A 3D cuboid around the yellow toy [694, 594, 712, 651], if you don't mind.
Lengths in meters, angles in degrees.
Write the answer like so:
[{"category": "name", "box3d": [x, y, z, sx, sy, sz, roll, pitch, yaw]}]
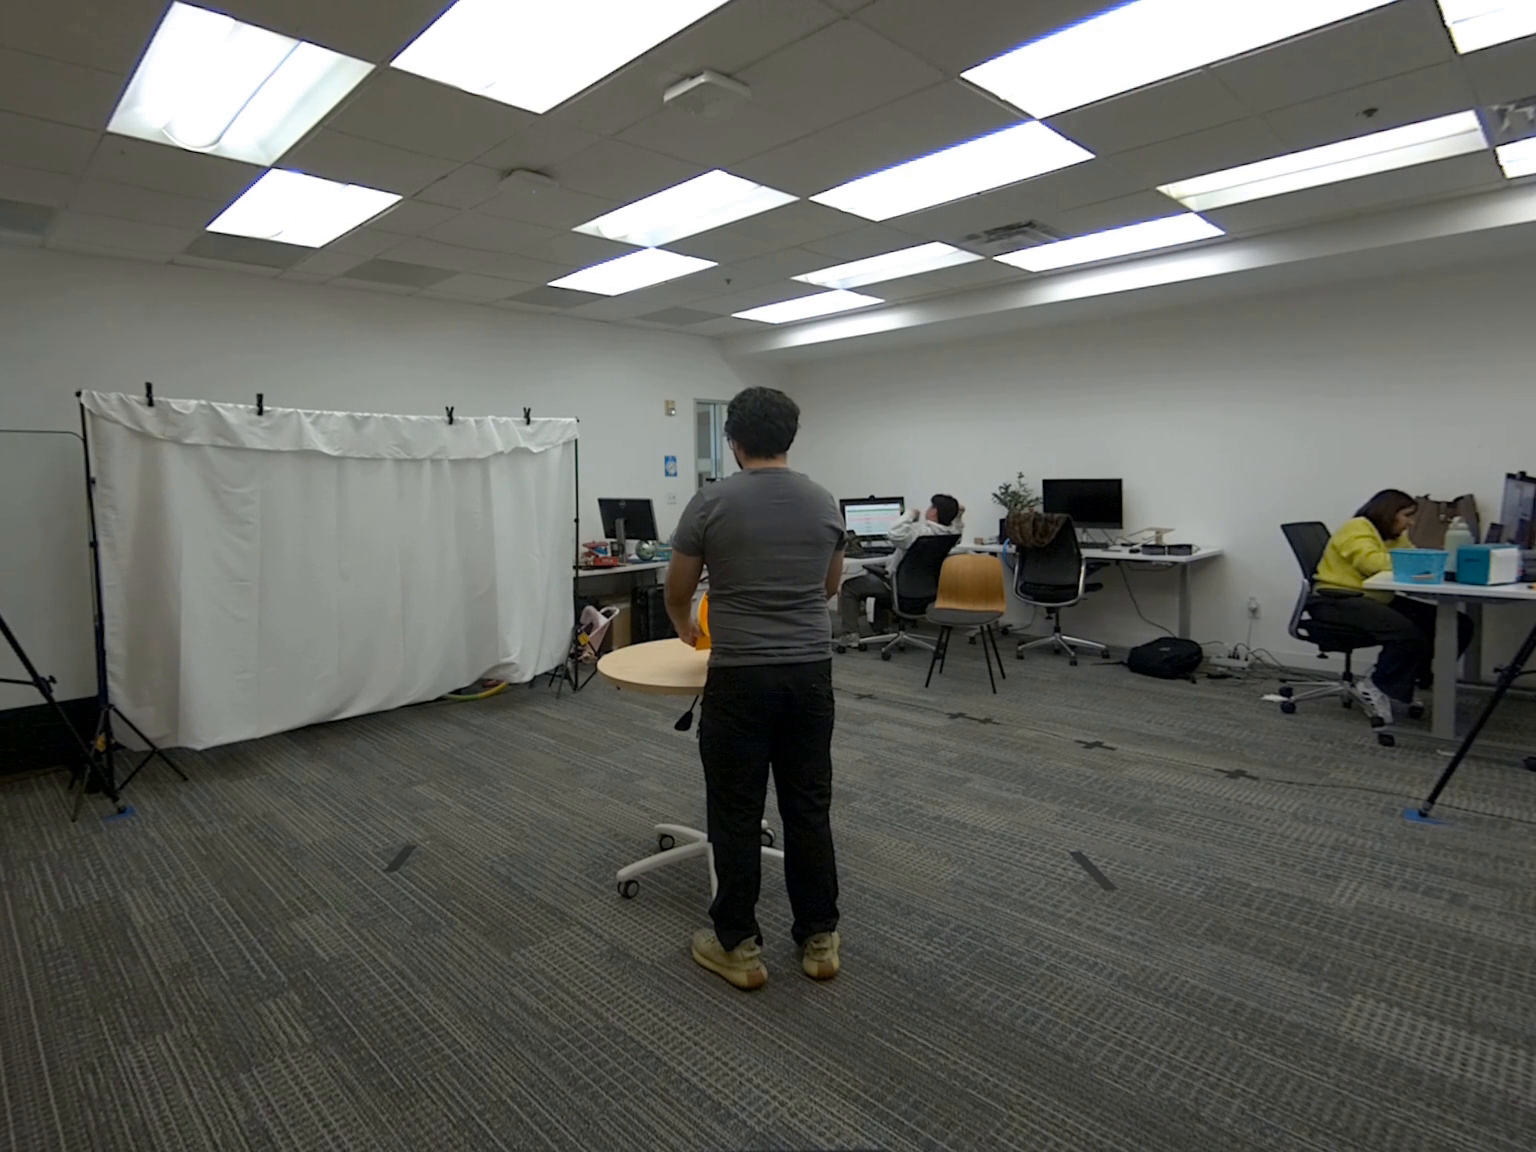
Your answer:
[{"category": "yellow toy", "box3d": [-0.164, 0.150, 2.819, 0.201, 0.195, 0.233, -4, -8, -22]}]
